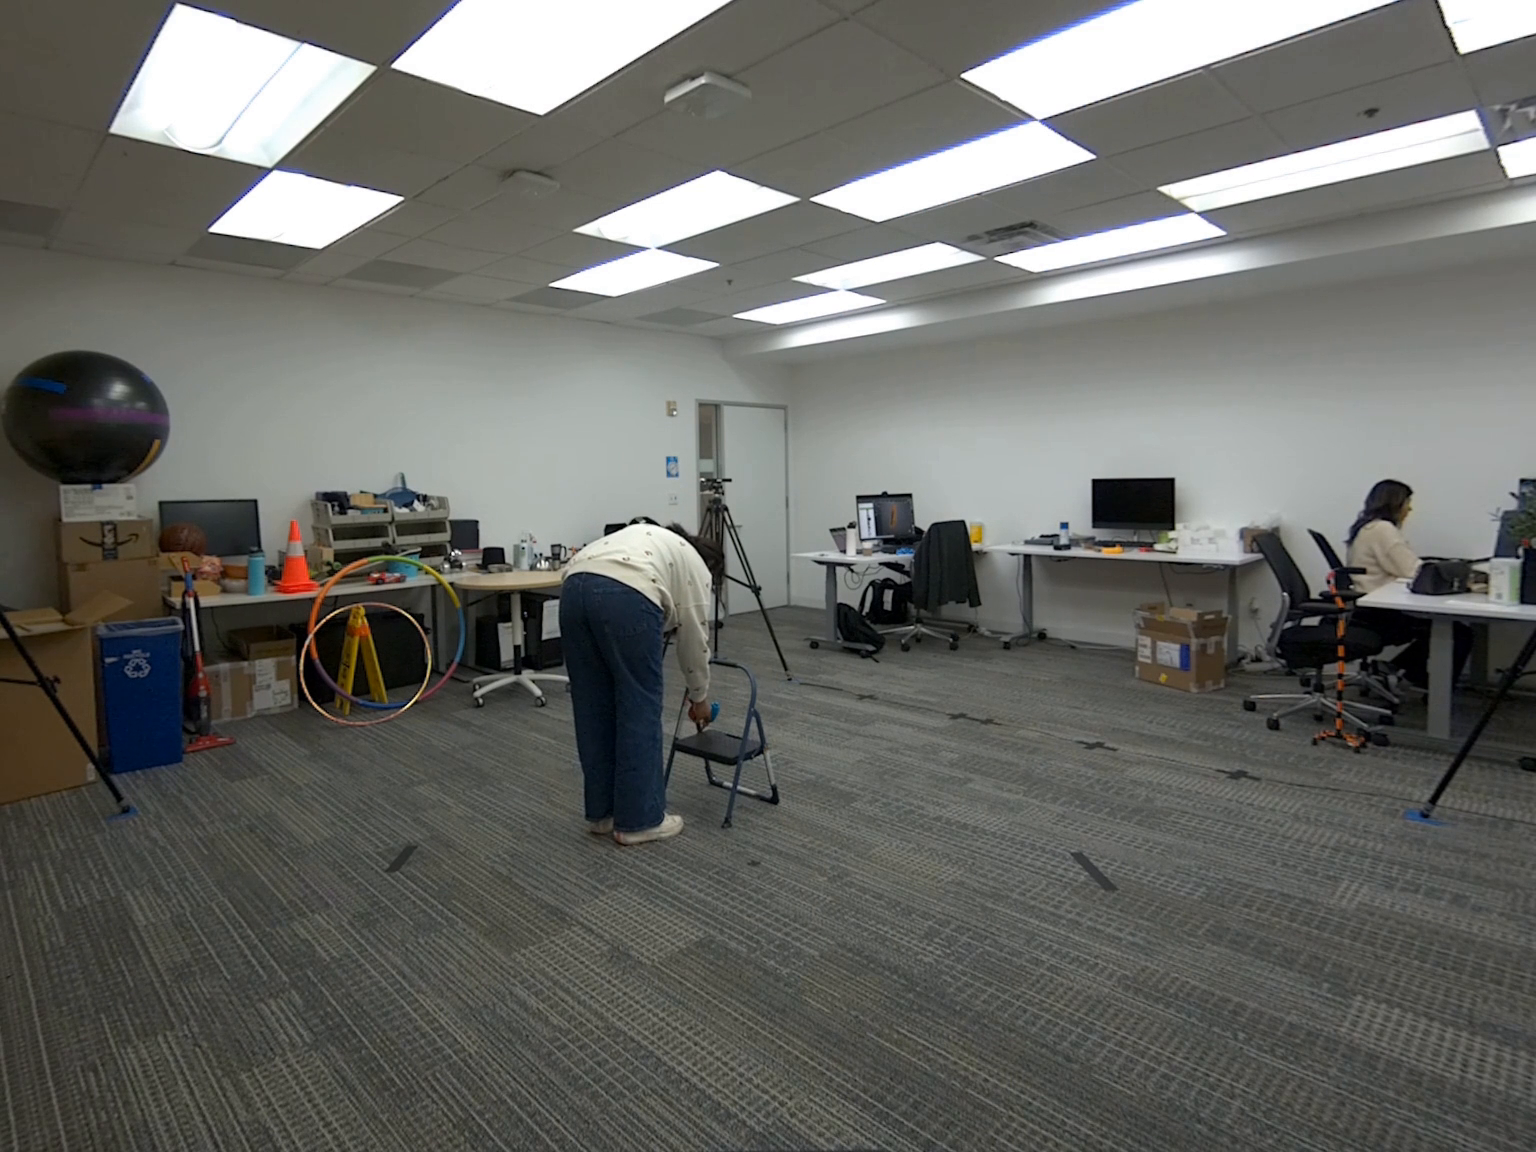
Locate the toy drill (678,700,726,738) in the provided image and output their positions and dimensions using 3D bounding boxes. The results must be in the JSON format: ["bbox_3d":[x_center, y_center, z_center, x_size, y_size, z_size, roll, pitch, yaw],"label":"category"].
[{"bbox_3d":[-0.295,0.636,3.814,0.142,0.168,0.063,5,37,-33],"label":"toy drill"}]
